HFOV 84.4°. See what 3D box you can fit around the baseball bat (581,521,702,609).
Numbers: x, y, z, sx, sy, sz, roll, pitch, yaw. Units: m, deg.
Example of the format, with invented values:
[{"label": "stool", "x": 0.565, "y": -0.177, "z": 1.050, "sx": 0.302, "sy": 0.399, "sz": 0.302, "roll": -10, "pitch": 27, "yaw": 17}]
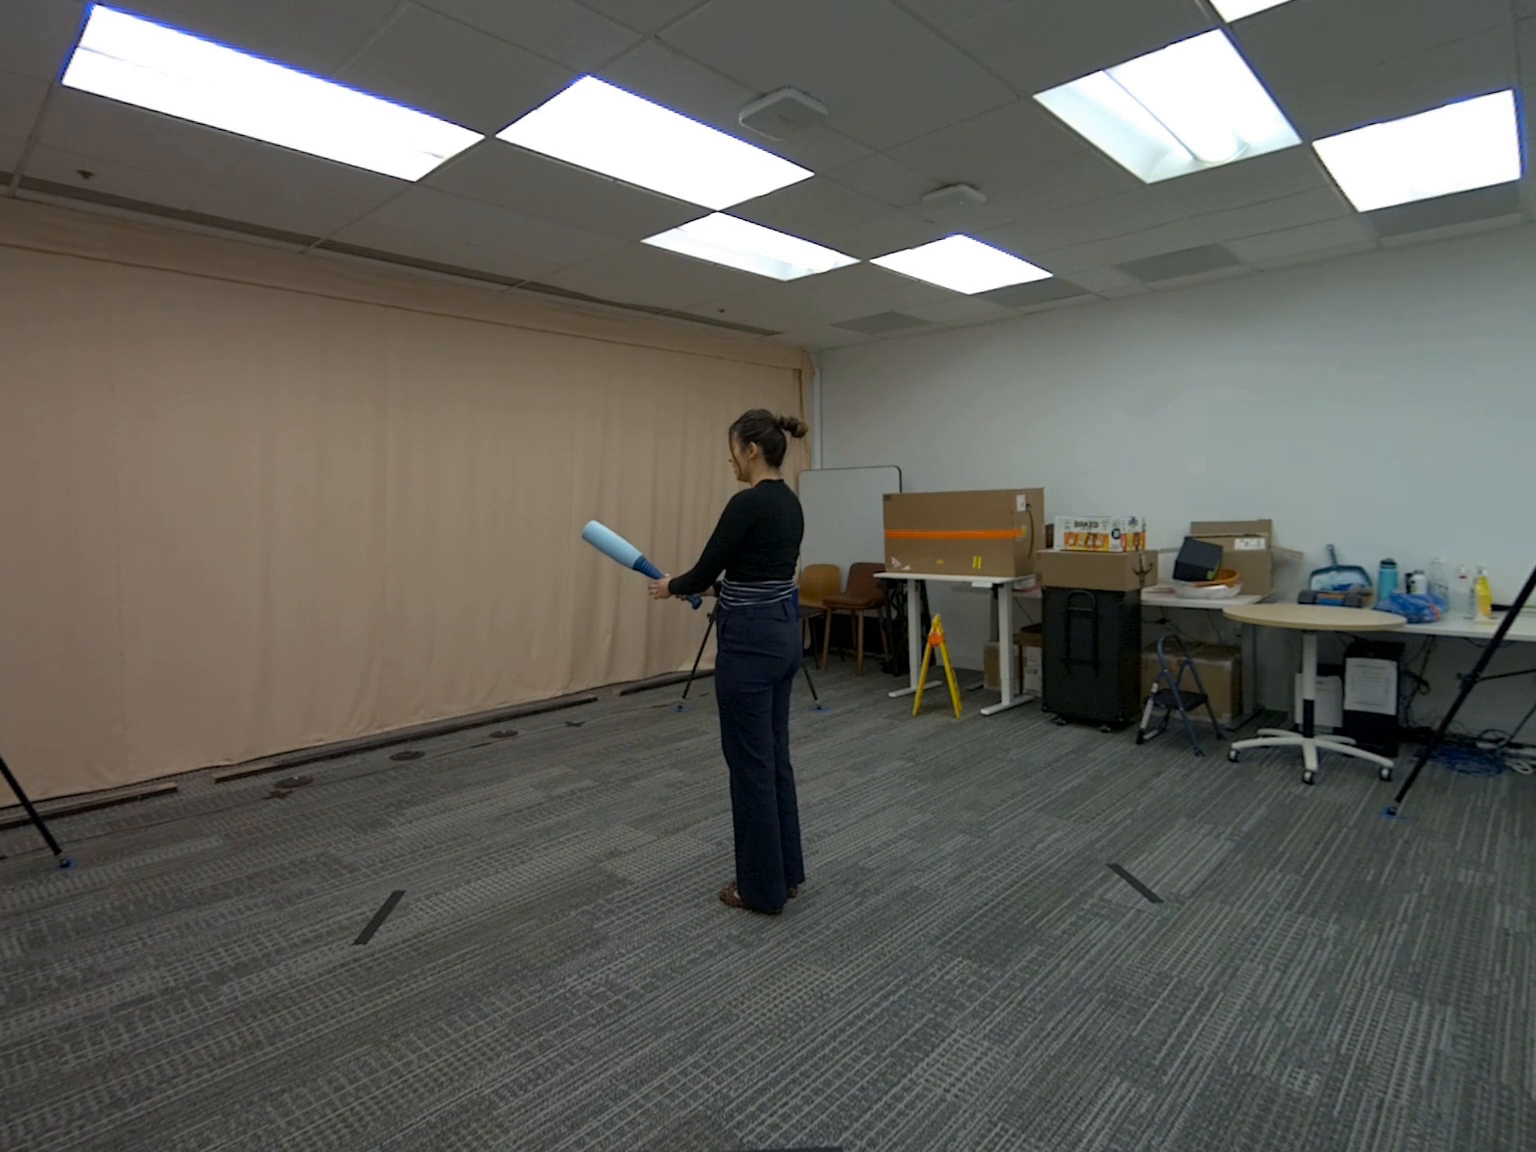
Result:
[{"label": "baseball bat", "x": -0.473, "y": -0.033, "z": 3.197, "sx": 0.552, "sy": 0.089, "sz": 0.087, "roll": 33, "pitch": 12, "yaw": 13}]
